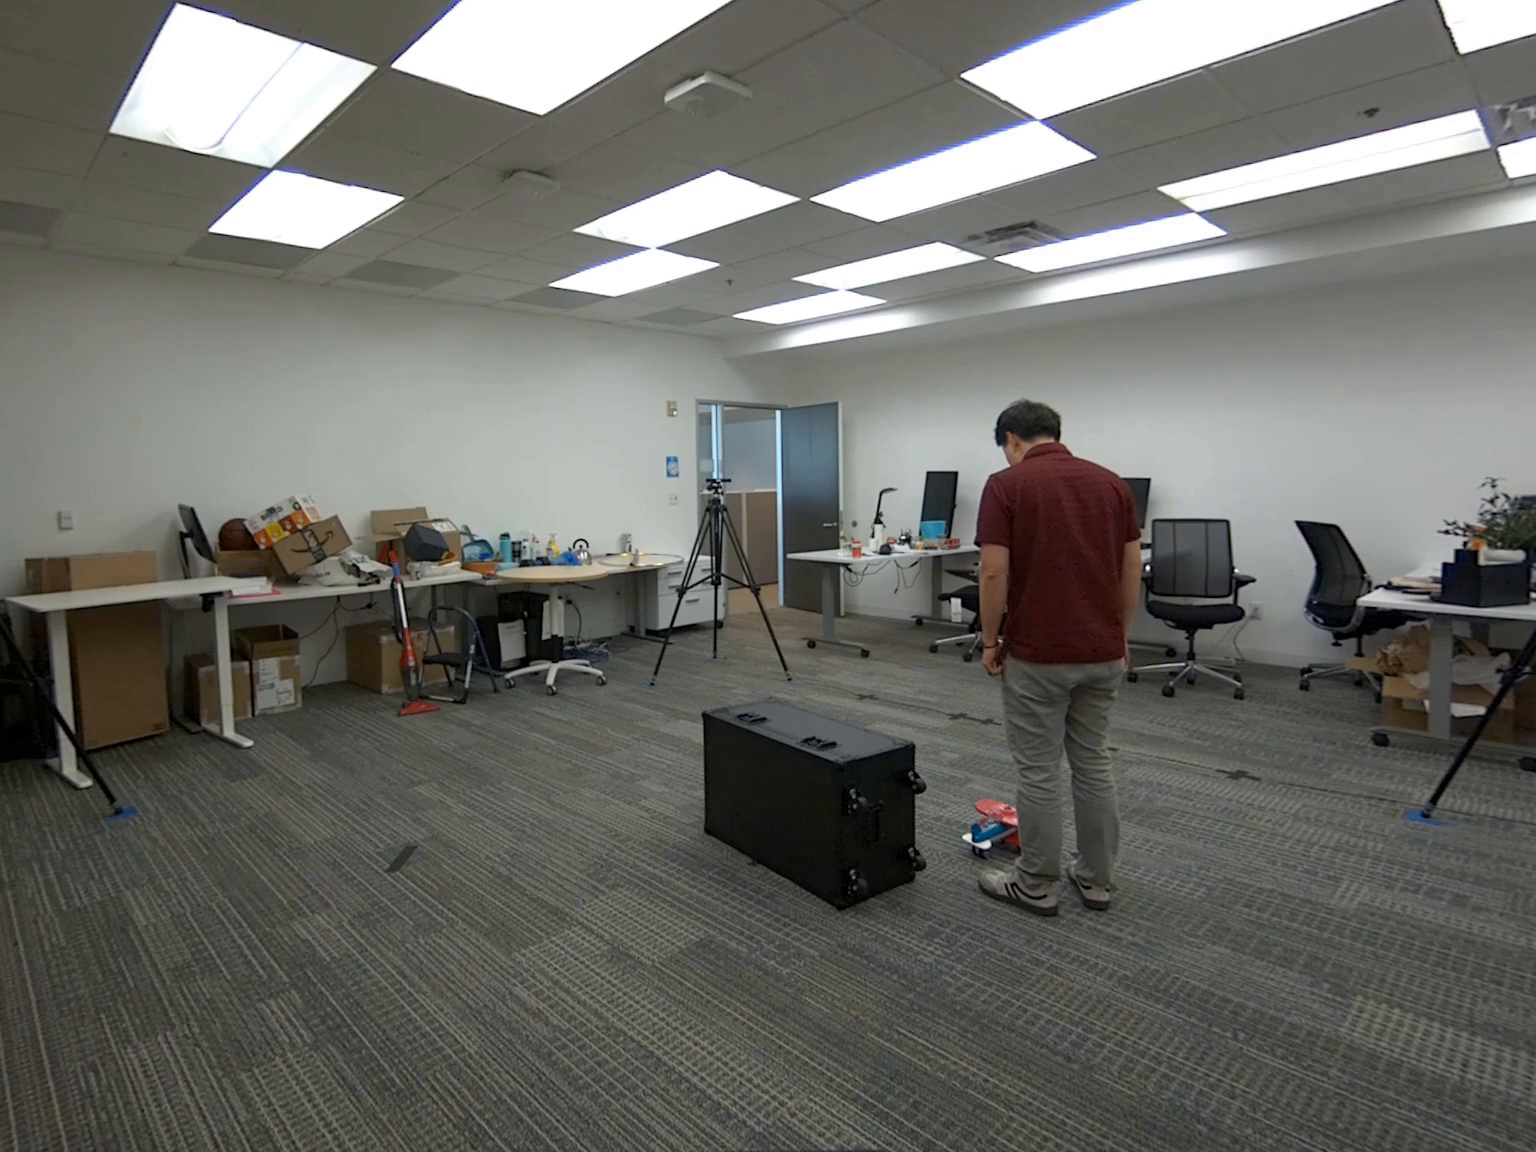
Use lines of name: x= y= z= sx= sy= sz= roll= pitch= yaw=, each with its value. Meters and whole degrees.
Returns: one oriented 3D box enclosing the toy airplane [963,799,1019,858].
toy airplane: x=0.862 y=0.943 z=3.153 sx=0.258 sy=0.156 sz=0.253 roll=2 pitch=5 yaw=32
